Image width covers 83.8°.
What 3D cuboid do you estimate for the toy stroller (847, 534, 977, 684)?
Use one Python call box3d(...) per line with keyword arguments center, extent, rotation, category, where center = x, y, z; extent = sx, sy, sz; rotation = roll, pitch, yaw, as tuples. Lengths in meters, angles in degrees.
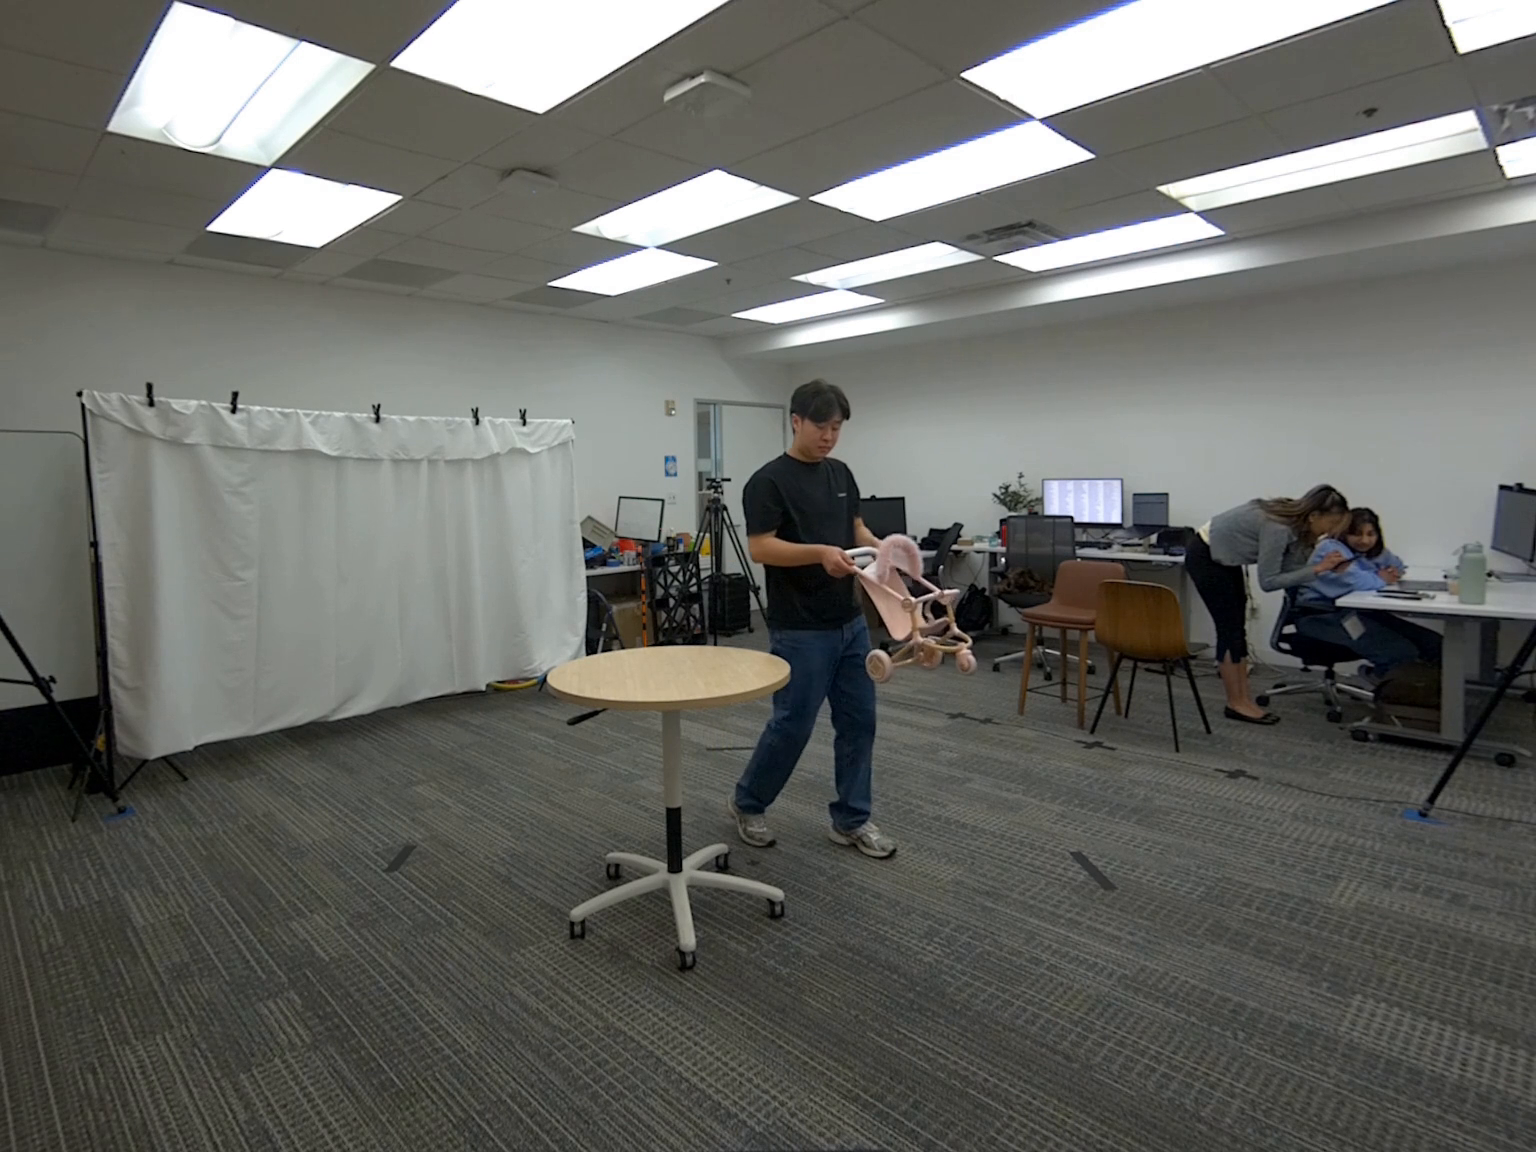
box3d(center=(0.461, 0.099, 2.811), extent=(0.275, 0.544, 0.344), rotation=(-7, -17, -36), category="toy stroller")
